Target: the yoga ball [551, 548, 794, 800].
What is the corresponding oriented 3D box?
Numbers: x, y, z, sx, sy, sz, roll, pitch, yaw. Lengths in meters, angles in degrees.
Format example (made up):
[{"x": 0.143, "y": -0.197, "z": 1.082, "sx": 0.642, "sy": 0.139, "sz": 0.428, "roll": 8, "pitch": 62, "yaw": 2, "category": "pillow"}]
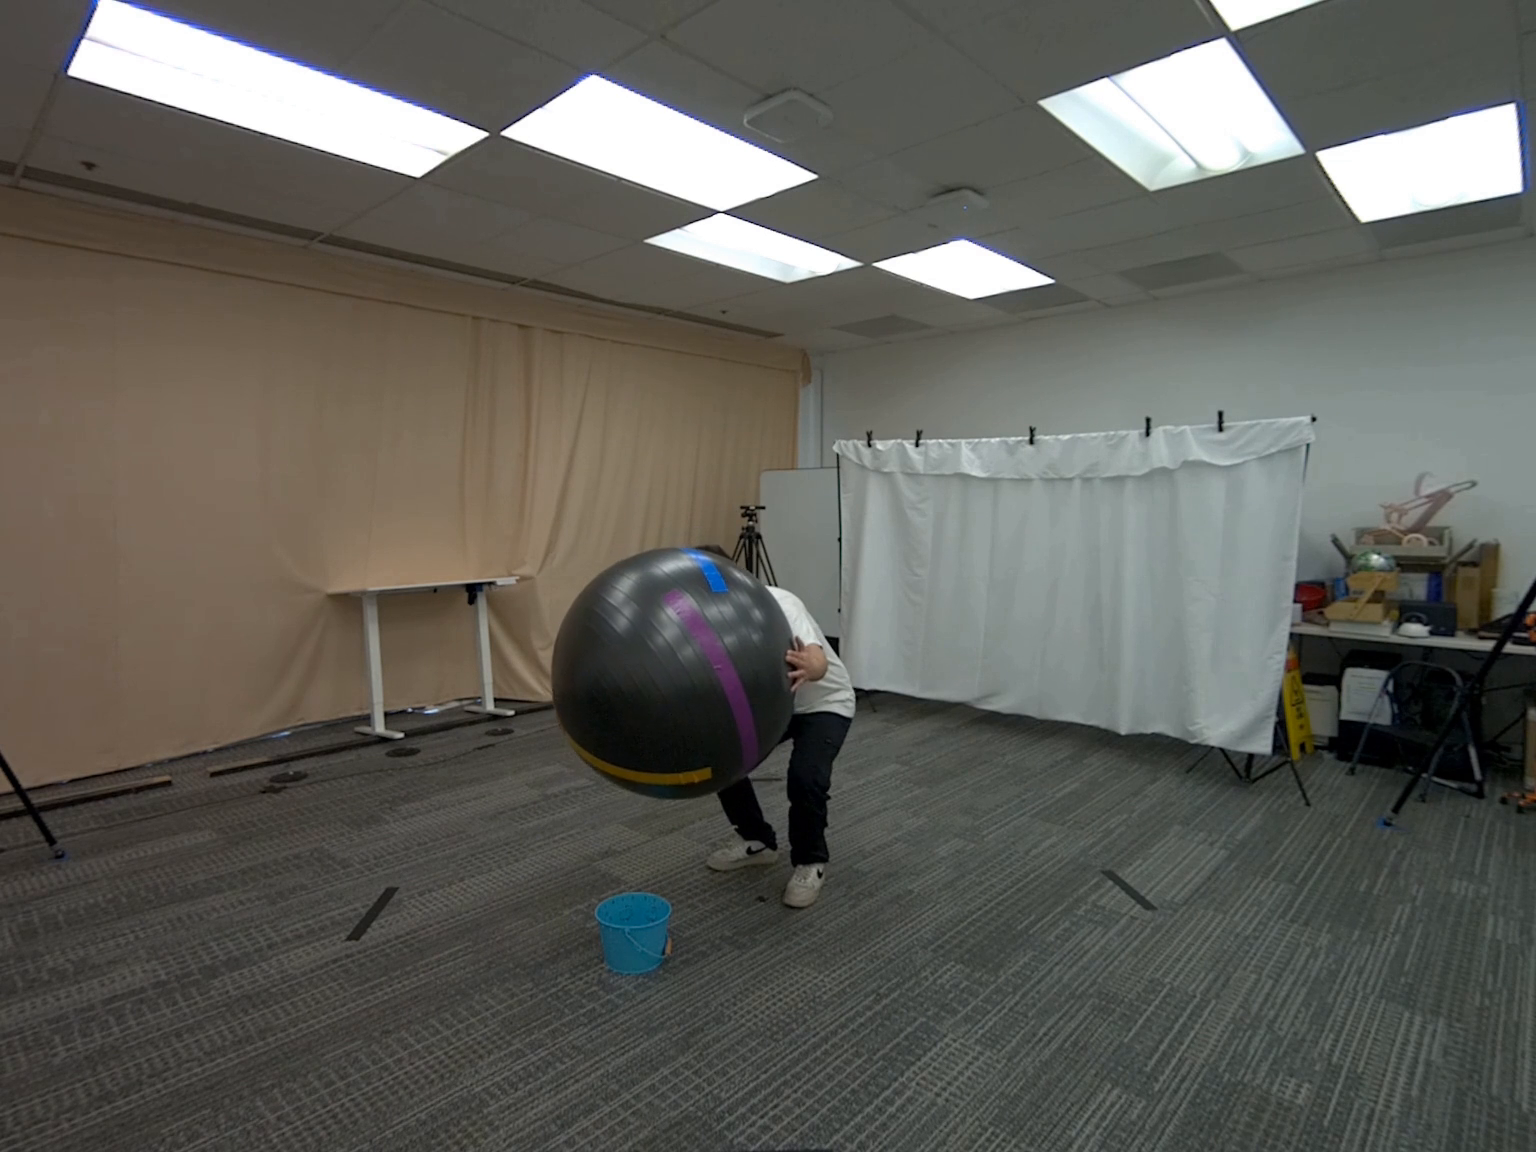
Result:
[{"x": -0.284, "y": 0.297, "z": 2.591, "sx": 0.757, "sy": 0.756, "sz": 0.760, "roll": 0, "pitch": 4, "yaw": -2, "category": "yoga ball"}]
